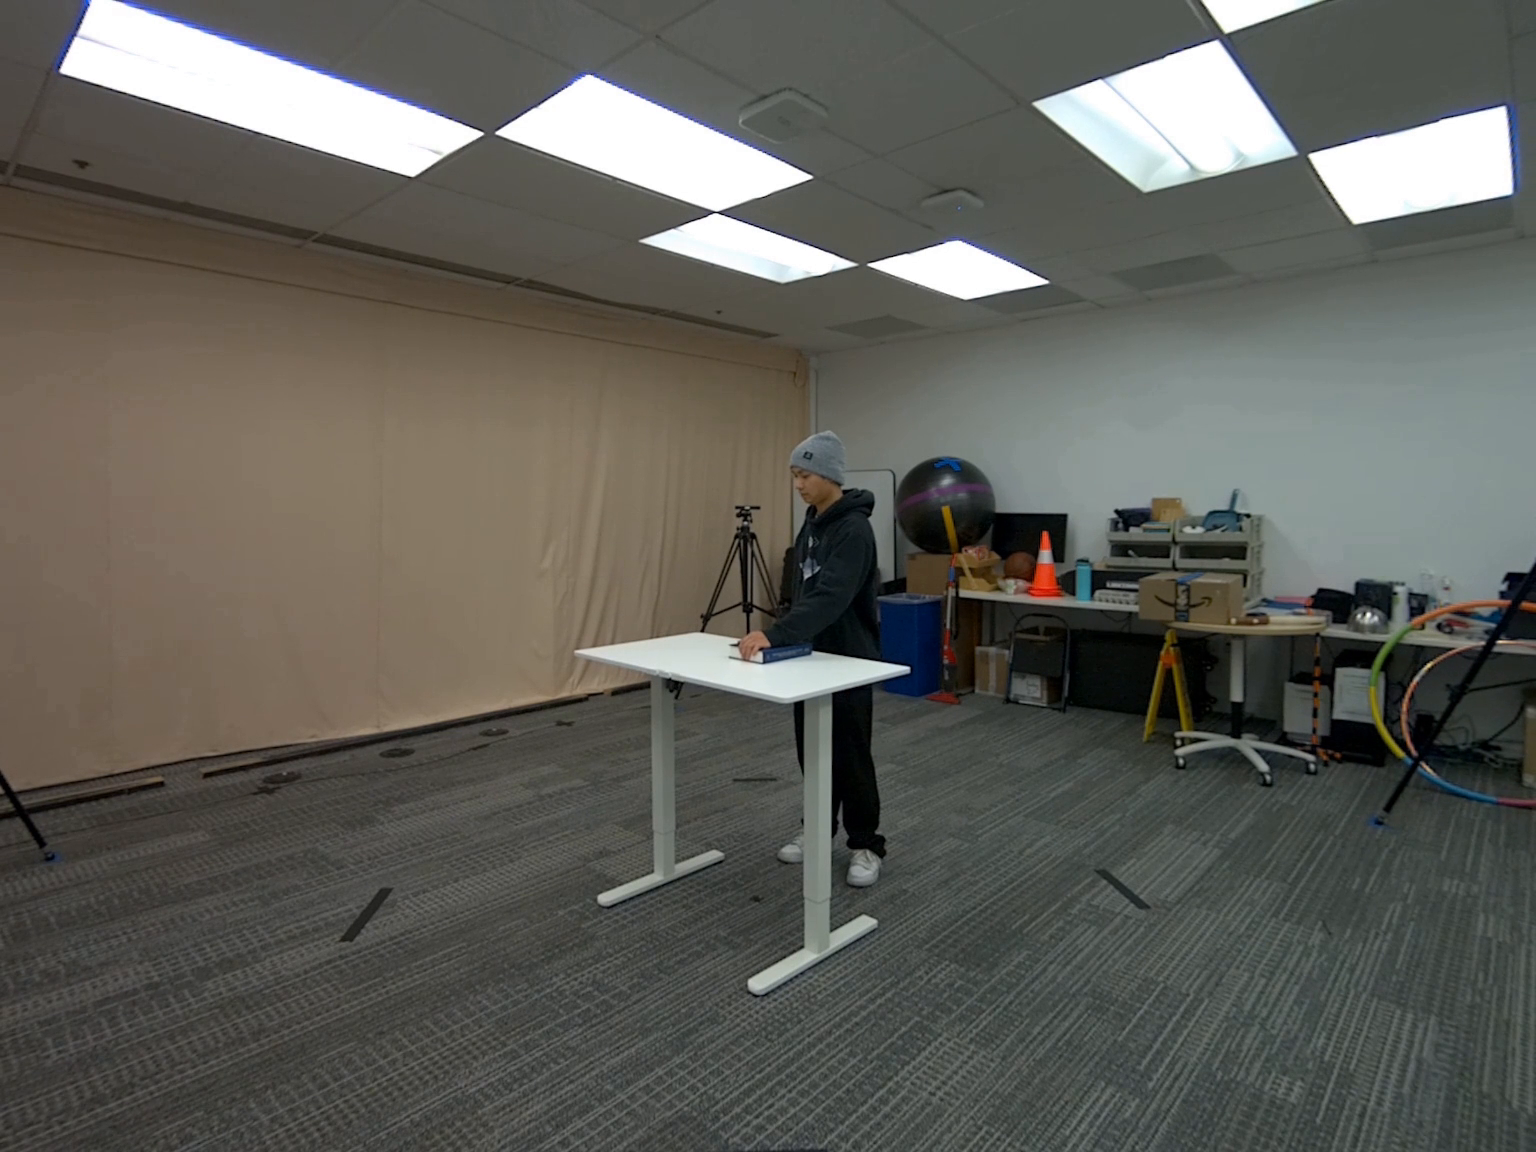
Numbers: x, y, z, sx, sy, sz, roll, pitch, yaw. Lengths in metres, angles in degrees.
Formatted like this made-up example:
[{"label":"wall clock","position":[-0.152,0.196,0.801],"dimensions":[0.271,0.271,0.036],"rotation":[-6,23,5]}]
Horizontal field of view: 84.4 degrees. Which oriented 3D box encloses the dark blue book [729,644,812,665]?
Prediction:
[{"label":"dark blue book","position":[0.013,0.253,2.863],"dimensions":[0.238,0.045,0.169],"rotation":[-6,9,-44]}]
